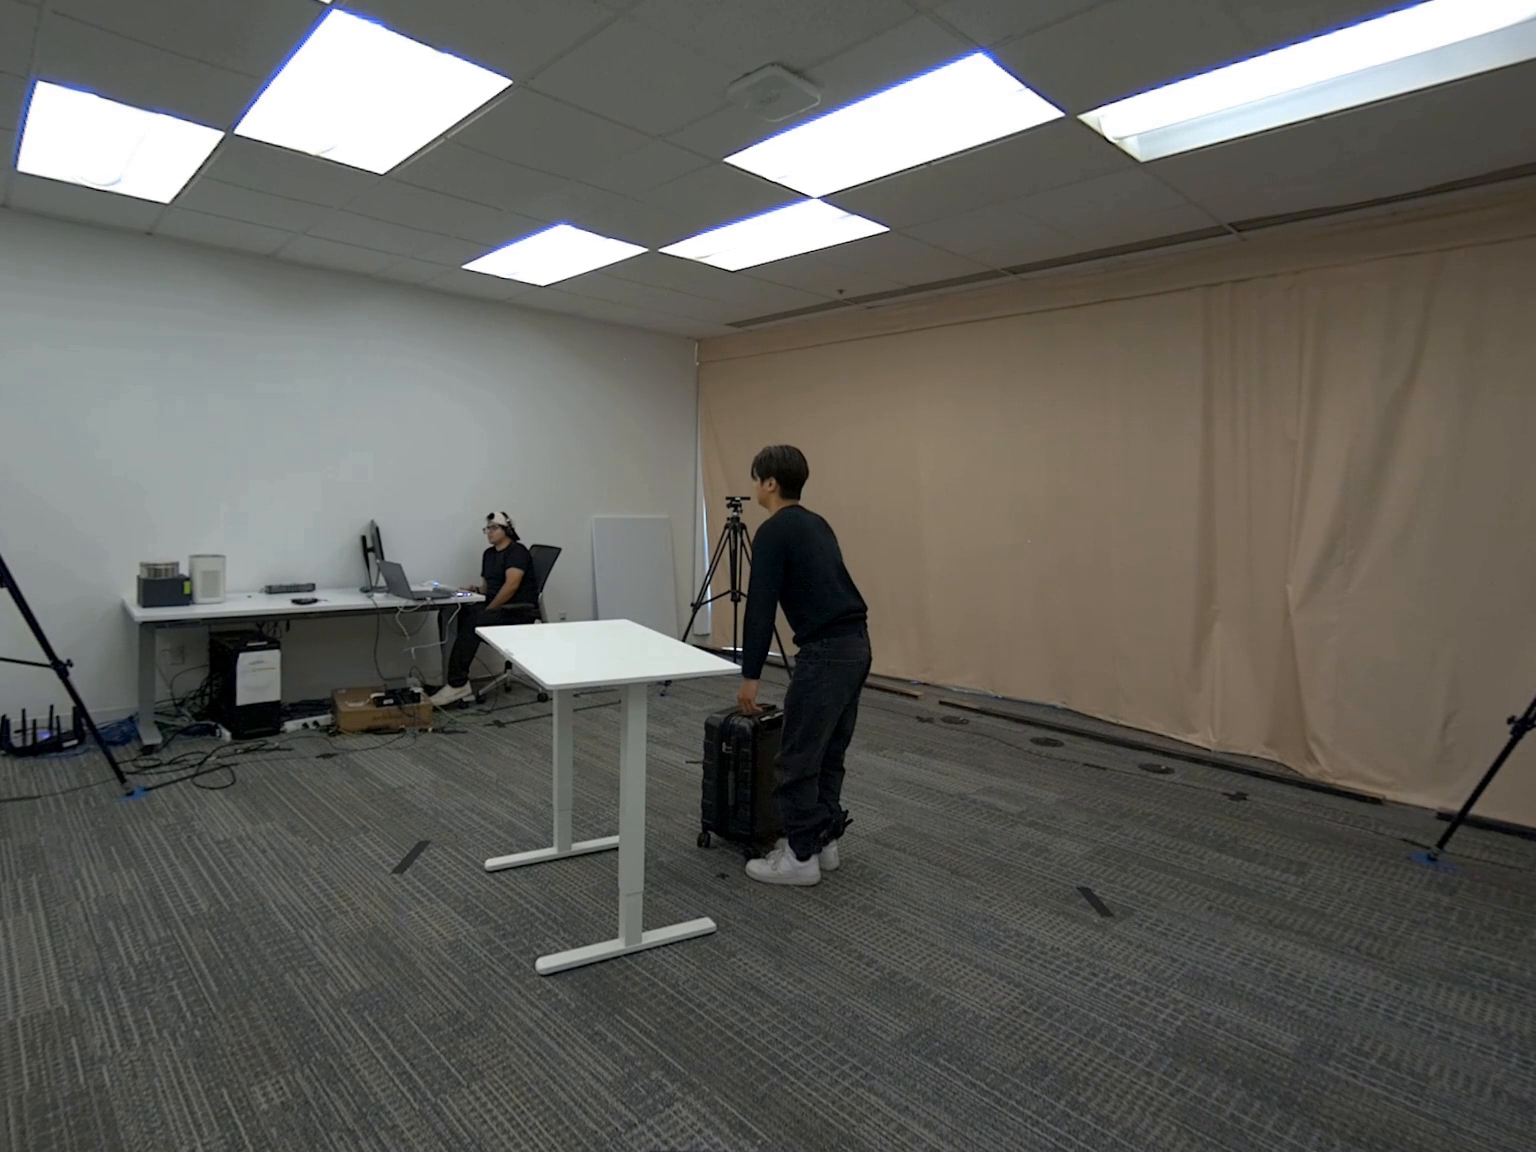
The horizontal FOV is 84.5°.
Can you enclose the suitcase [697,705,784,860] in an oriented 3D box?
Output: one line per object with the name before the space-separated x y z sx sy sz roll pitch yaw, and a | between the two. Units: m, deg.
suitcase | -0.089 0.800 3.432 0.254 0.548 0.367 4 5 35
